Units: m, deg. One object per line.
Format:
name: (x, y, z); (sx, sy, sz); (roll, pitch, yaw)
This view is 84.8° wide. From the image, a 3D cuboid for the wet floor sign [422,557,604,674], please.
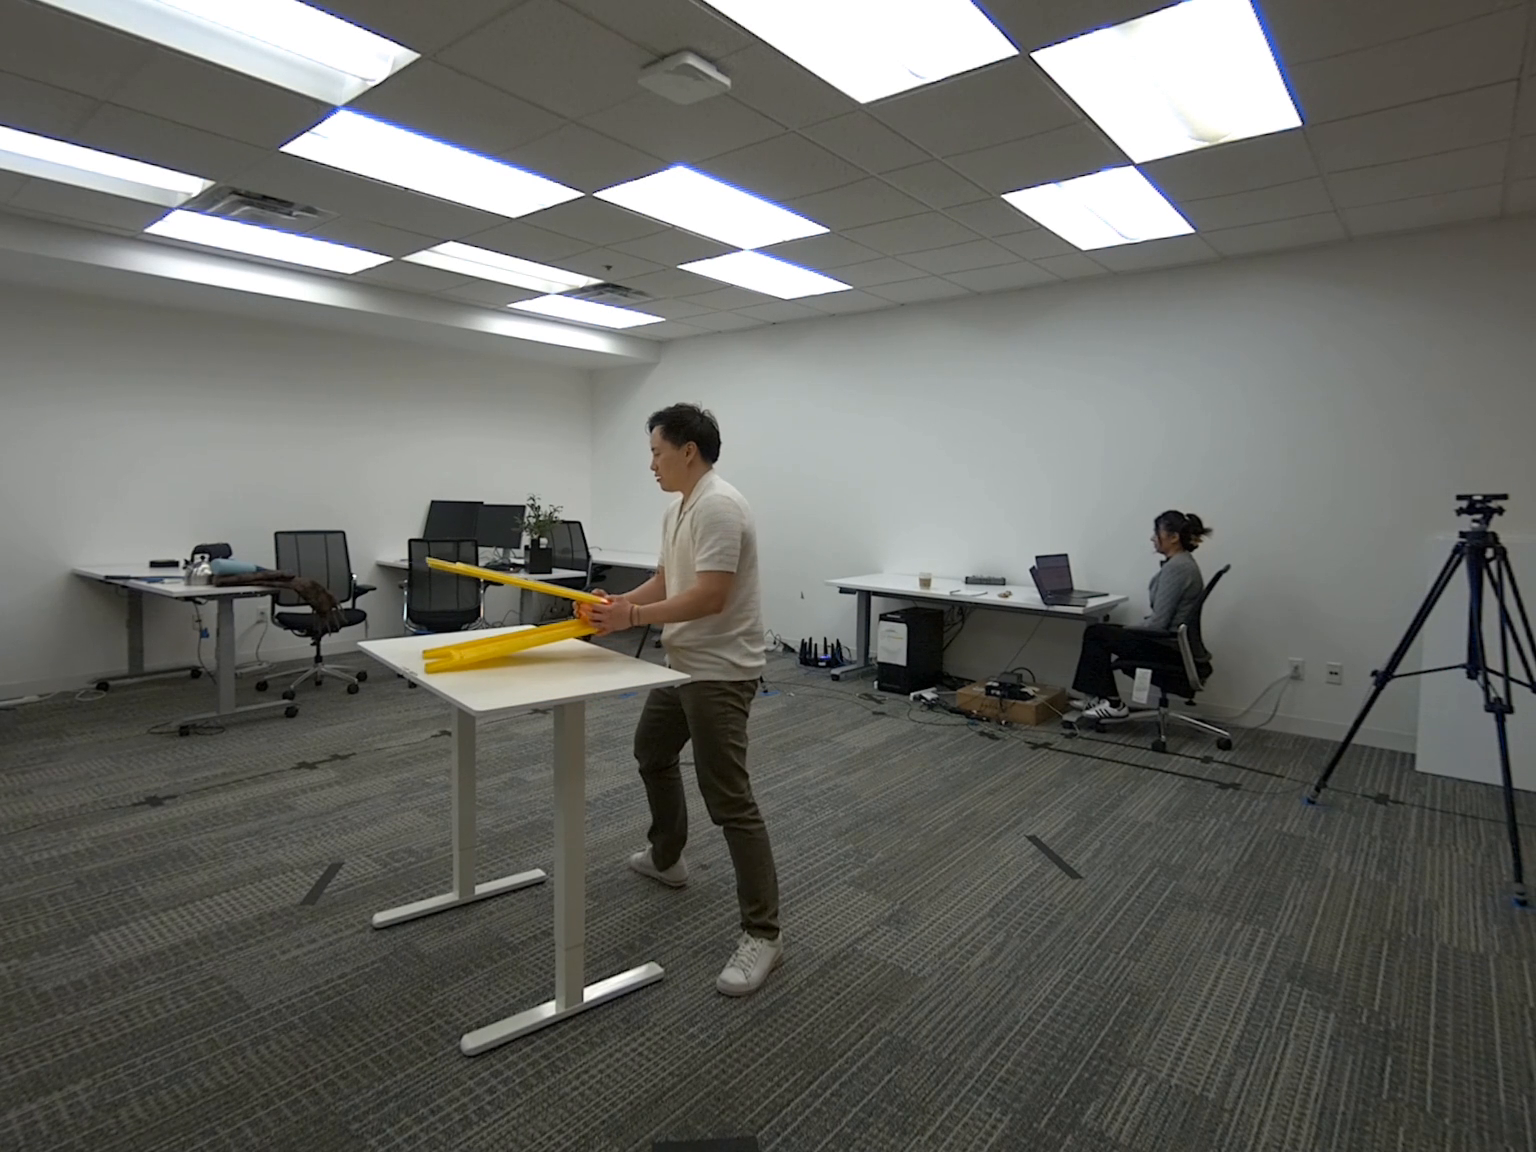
wet floor sign: (-0.684, 0.102, 2.530); (0.632, 0.289, 0.289); (1, 3, -22)
